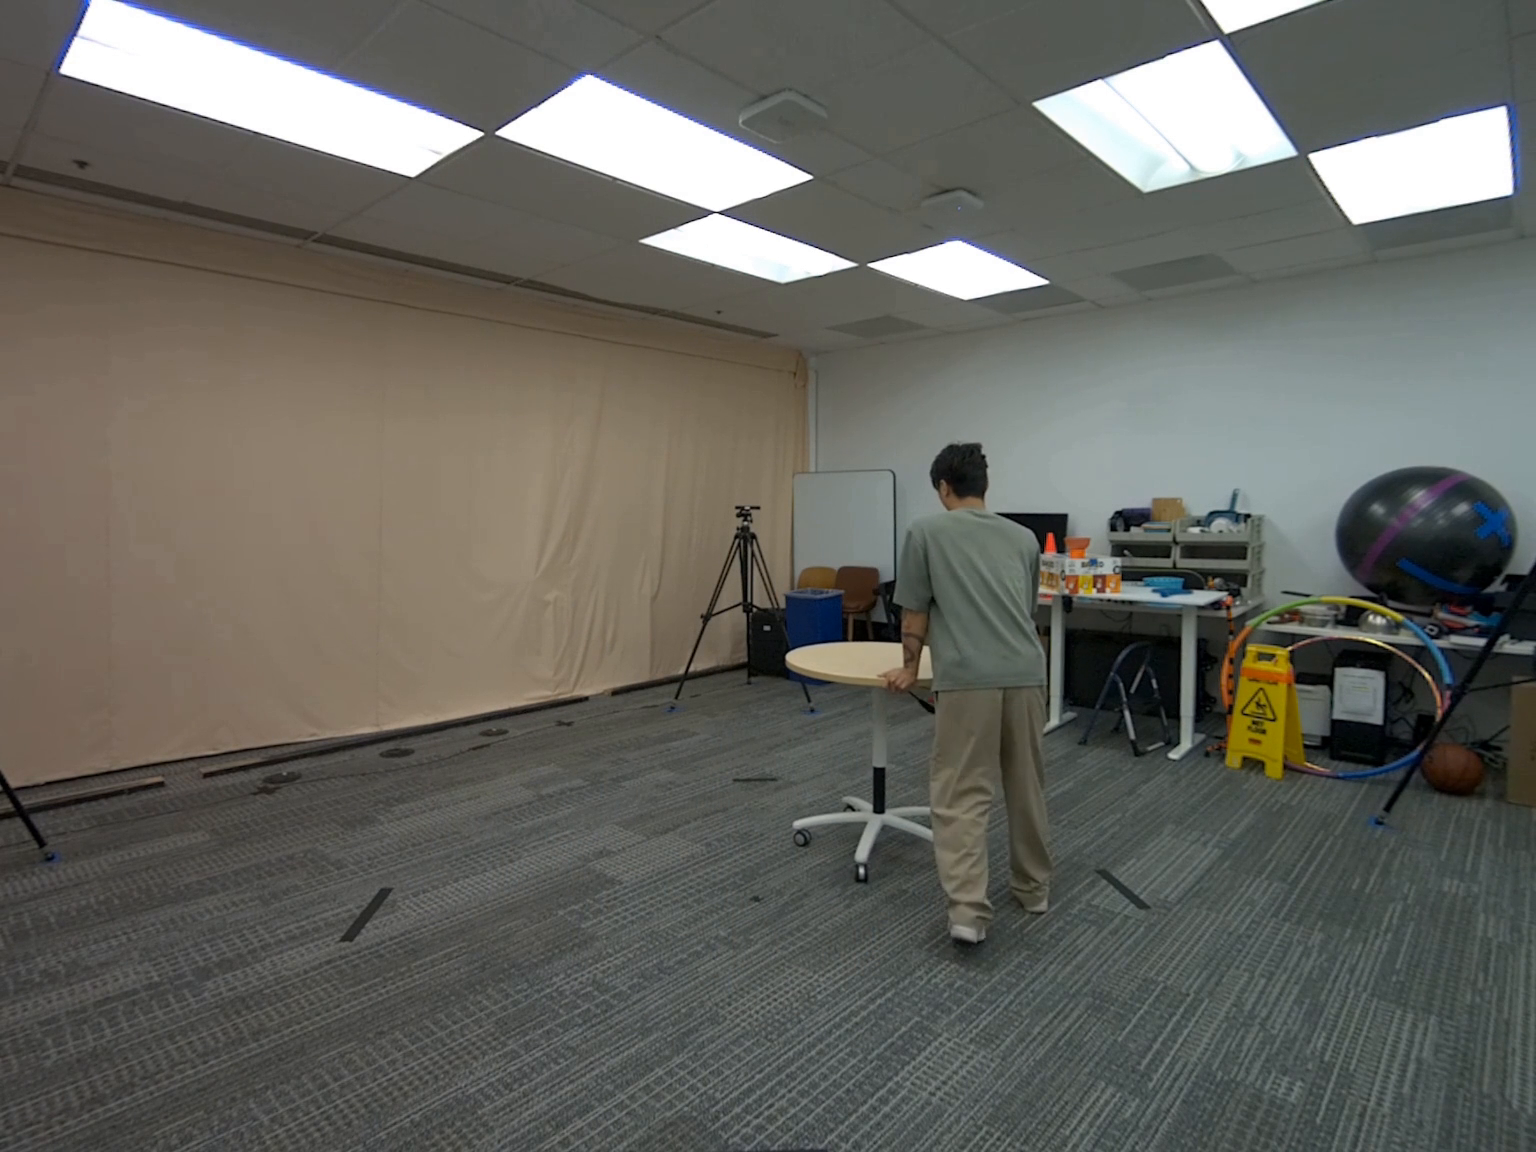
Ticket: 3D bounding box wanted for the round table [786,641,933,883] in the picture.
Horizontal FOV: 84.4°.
[{"bbox_3d":[0.454,0.717,3.431,0.784,0.784,0.788,0,5,-2],"label":"round table"}]
